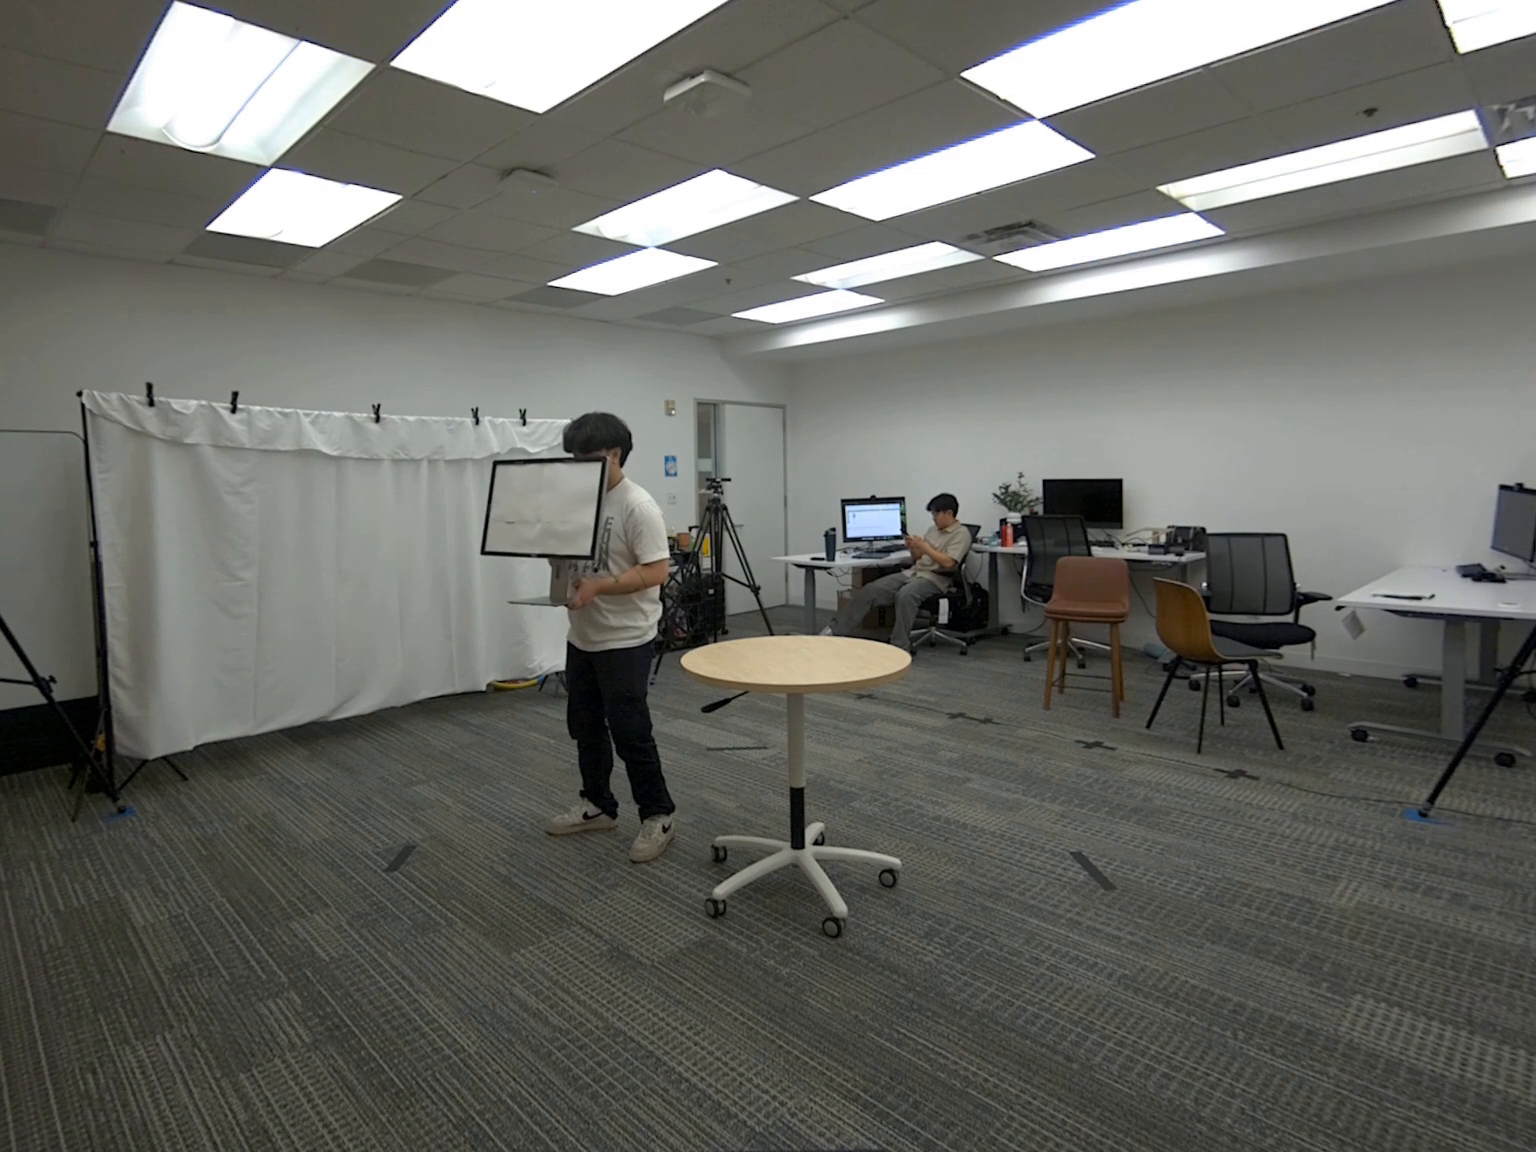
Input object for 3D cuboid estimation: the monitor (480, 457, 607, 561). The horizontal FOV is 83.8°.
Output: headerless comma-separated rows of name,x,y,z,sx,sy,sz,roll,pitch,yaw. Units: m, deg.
monitor,-0.777,-0.152,3.130,0.581,0.555,0.204,2,-2,33
